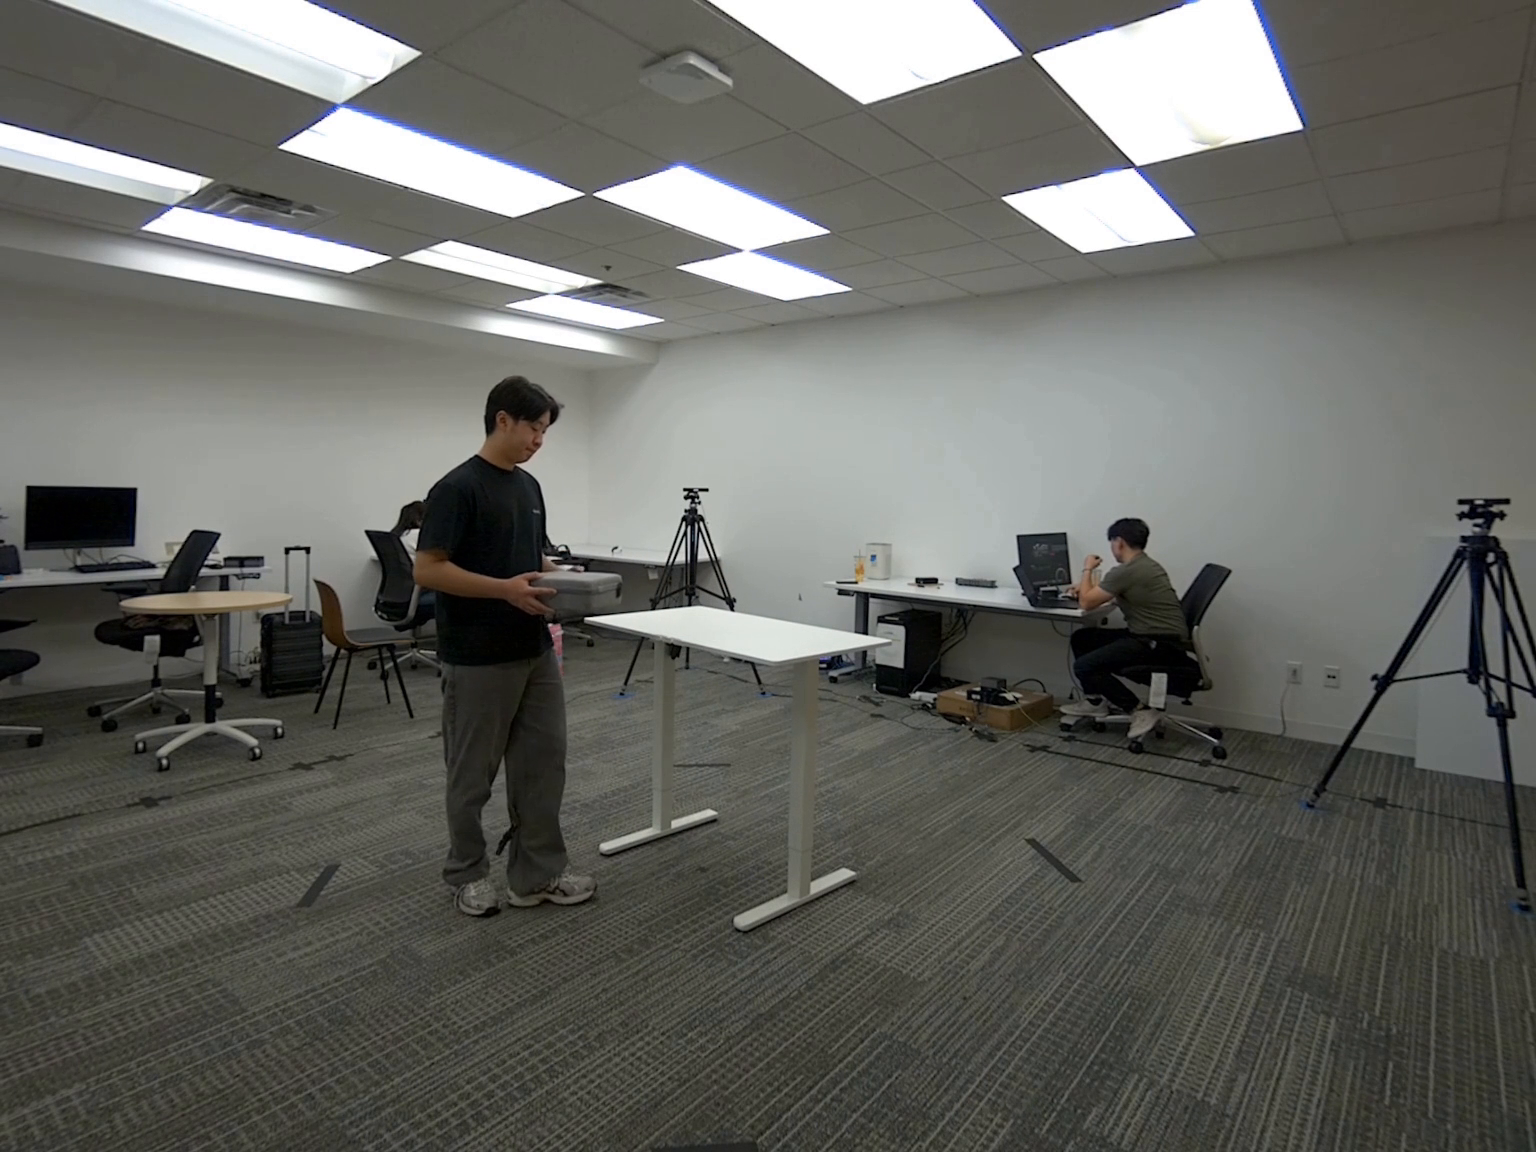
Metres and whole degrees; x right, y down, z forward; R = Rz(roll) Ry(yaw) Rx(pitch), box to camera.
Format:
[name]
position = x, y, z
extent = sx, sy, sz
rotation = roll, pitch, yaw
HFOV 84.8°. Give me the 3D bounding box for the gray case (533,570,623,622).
[gray case]
position = -0.617, 0.052, 2.671
extent = 0.288, 0.103, 0.264
rotation = 2, 5, 1
